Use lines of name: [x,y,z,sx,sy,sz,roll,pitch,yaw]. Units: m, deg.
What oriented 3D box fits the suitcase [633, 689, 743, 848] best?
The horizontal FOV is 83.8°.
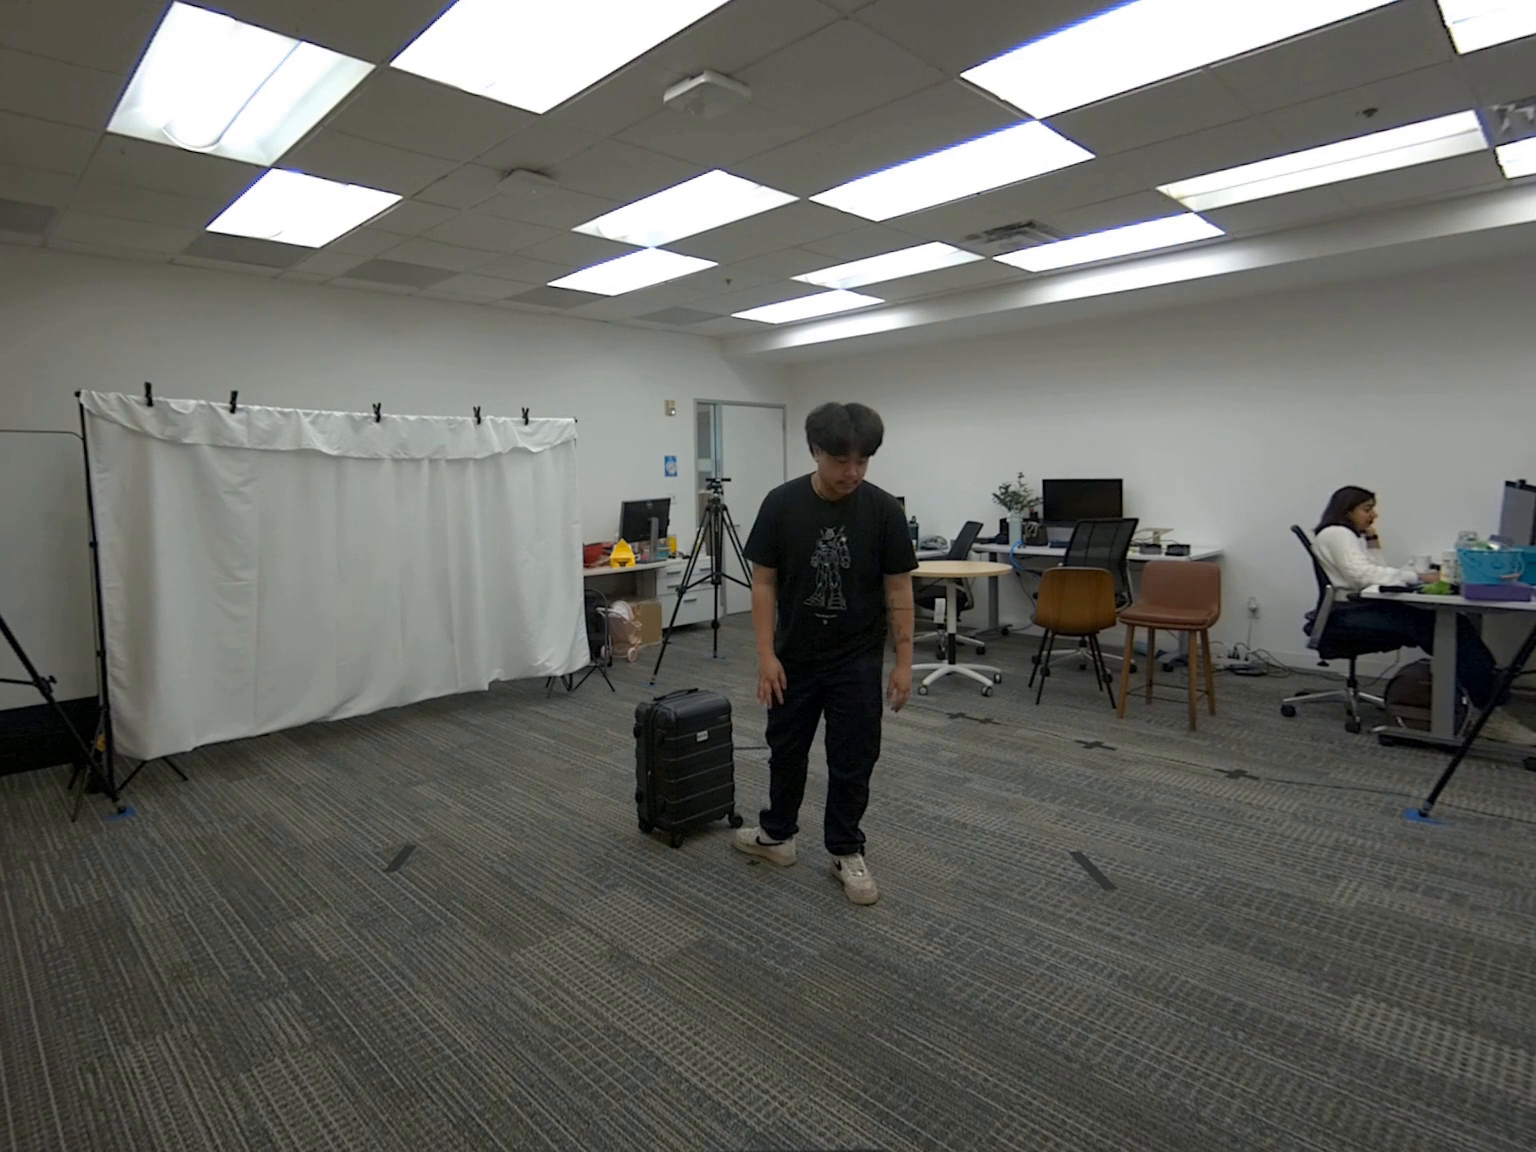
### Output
suitcase: [-0.327,0.736,3.398,0.365,0.547,0.256,-5,6,-42]
